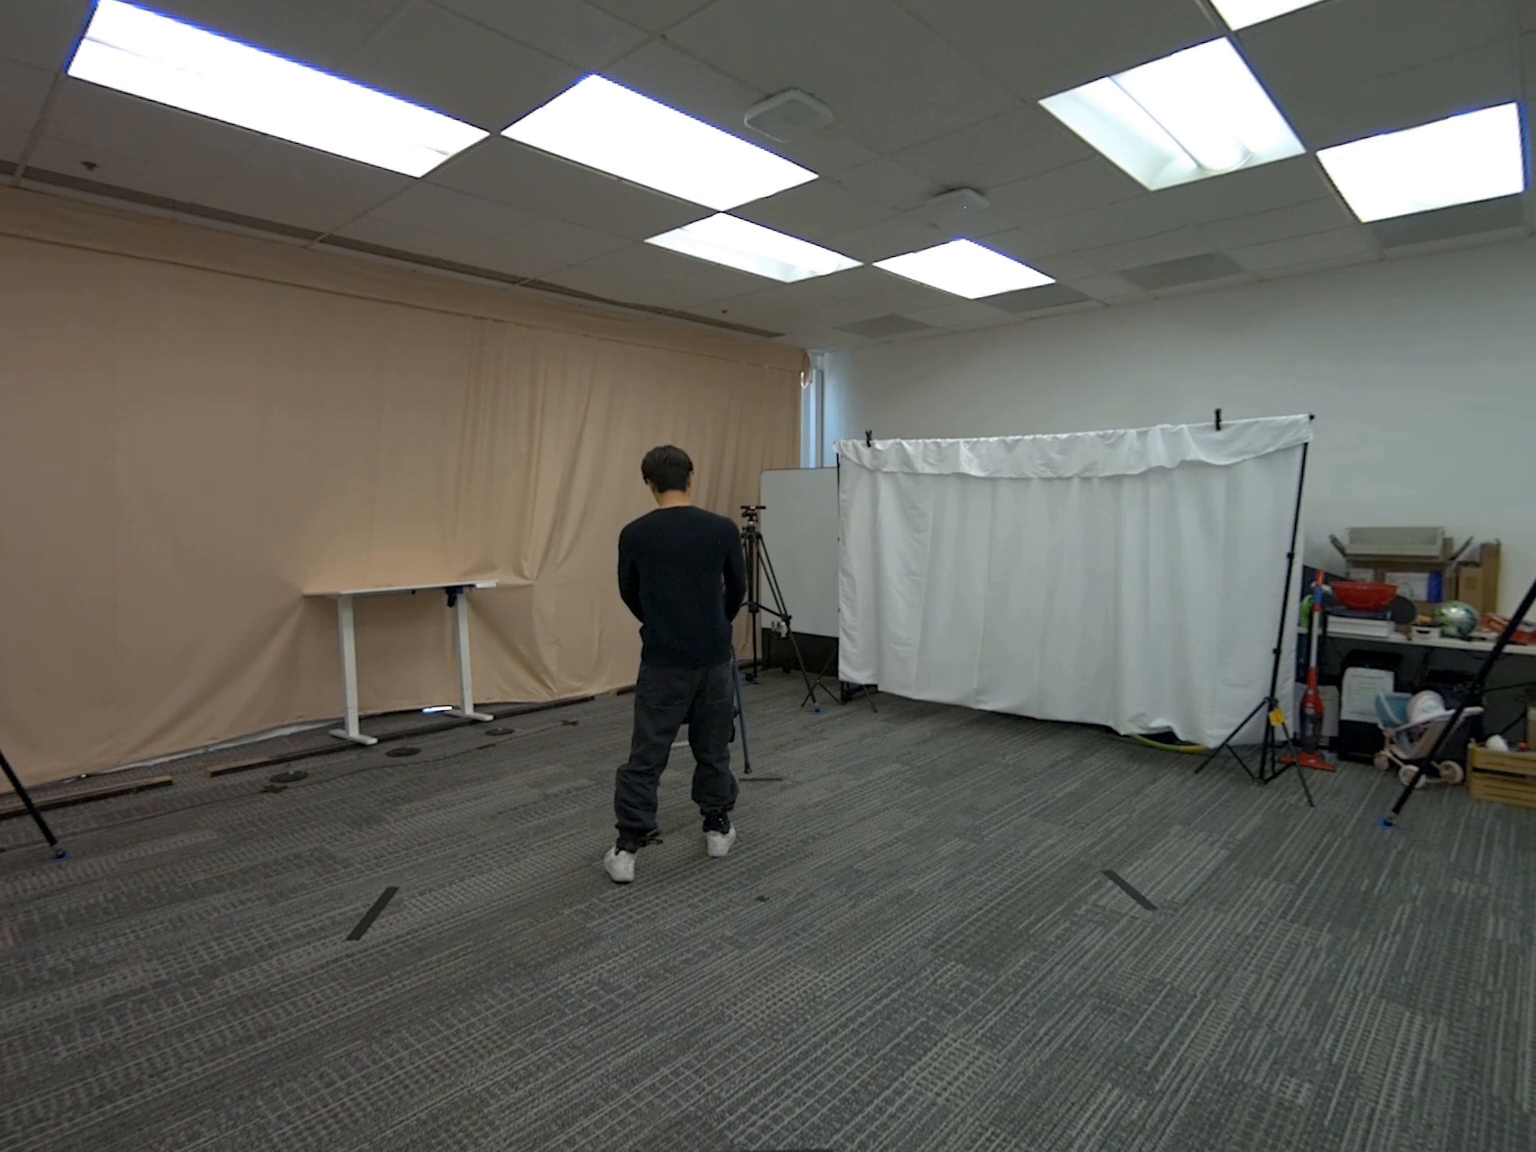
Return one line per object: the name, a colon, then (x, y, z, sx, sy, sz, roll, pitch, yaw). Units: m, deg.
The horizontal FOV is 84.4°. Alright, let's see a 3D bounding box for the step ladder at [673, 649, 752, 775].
step ladder: (-0.330, 0.528, 3.657, 0.425, 0.601, 0.356, -4, 12, -13)
